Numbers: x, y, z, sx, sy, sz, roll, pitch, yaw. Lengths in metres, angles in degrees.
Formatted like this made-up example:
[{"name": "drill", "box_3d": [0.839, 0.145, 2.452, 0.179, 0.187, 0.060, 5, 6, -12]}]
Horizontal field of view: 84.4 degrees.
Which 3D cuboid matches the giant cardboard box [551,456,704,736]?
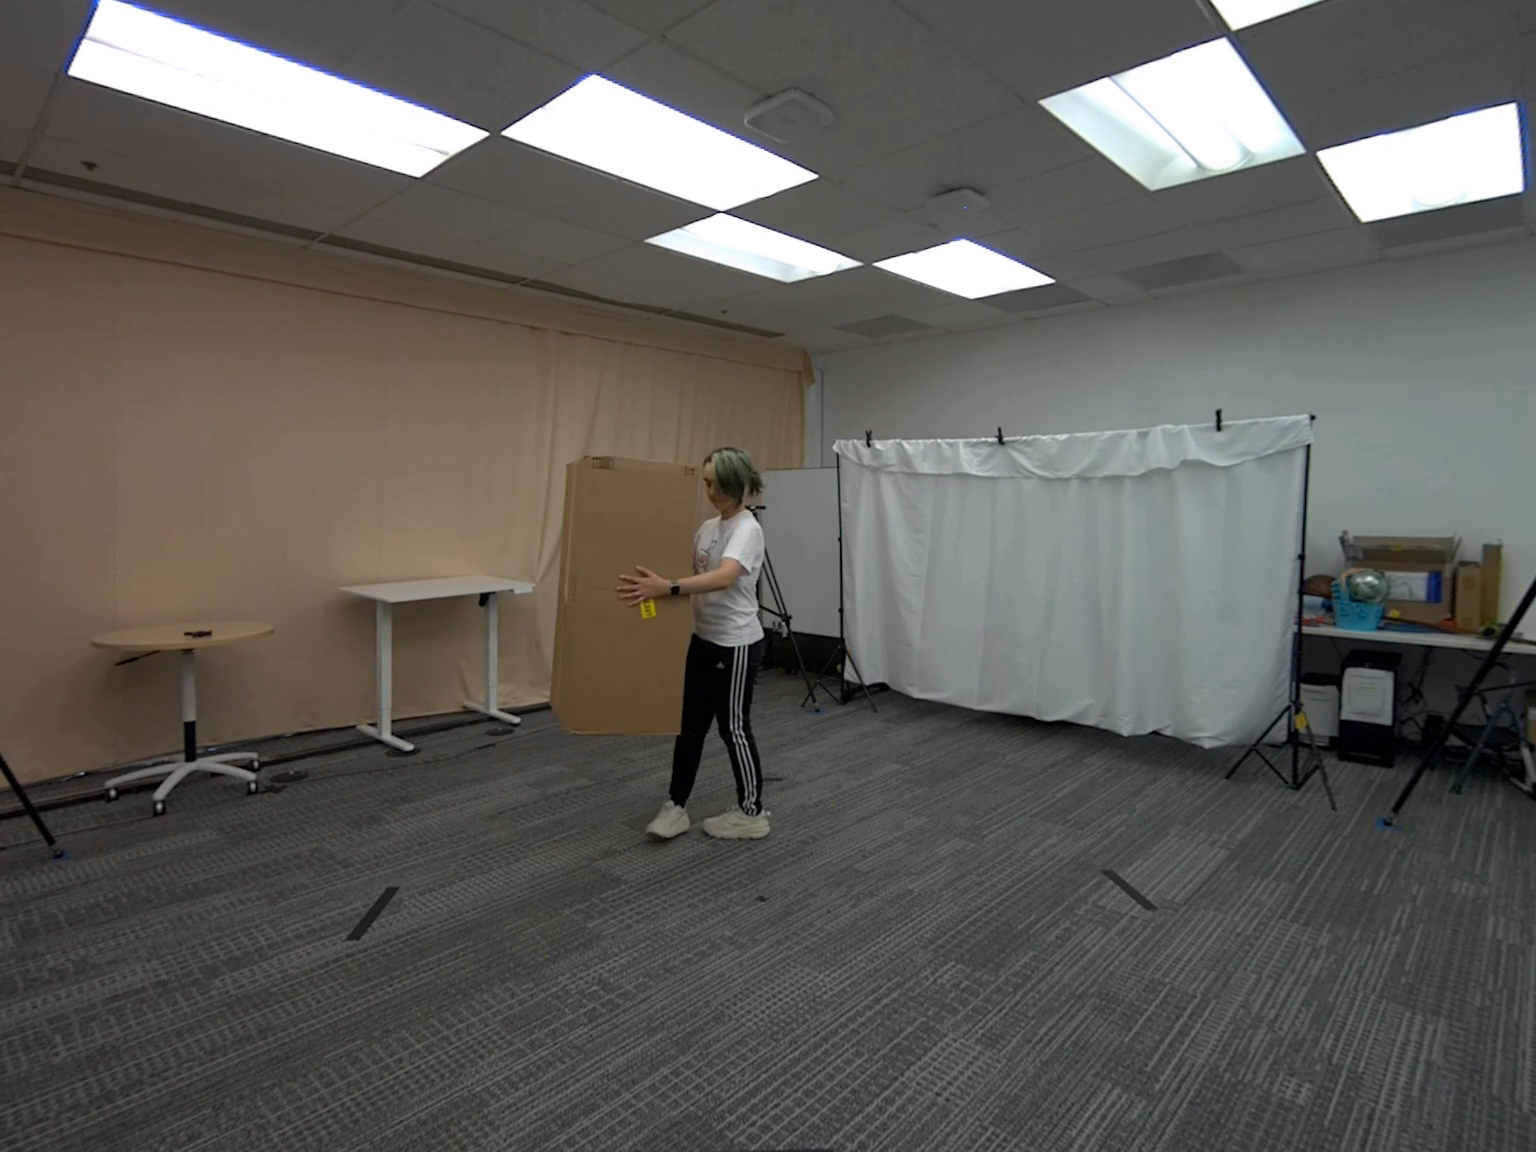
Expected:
[{"name": "giant cardboard box", "box_3d": [-0.588, 0.068, 3.383, 0.437, 1.027, 0.597, 4, 1, -21]}]
